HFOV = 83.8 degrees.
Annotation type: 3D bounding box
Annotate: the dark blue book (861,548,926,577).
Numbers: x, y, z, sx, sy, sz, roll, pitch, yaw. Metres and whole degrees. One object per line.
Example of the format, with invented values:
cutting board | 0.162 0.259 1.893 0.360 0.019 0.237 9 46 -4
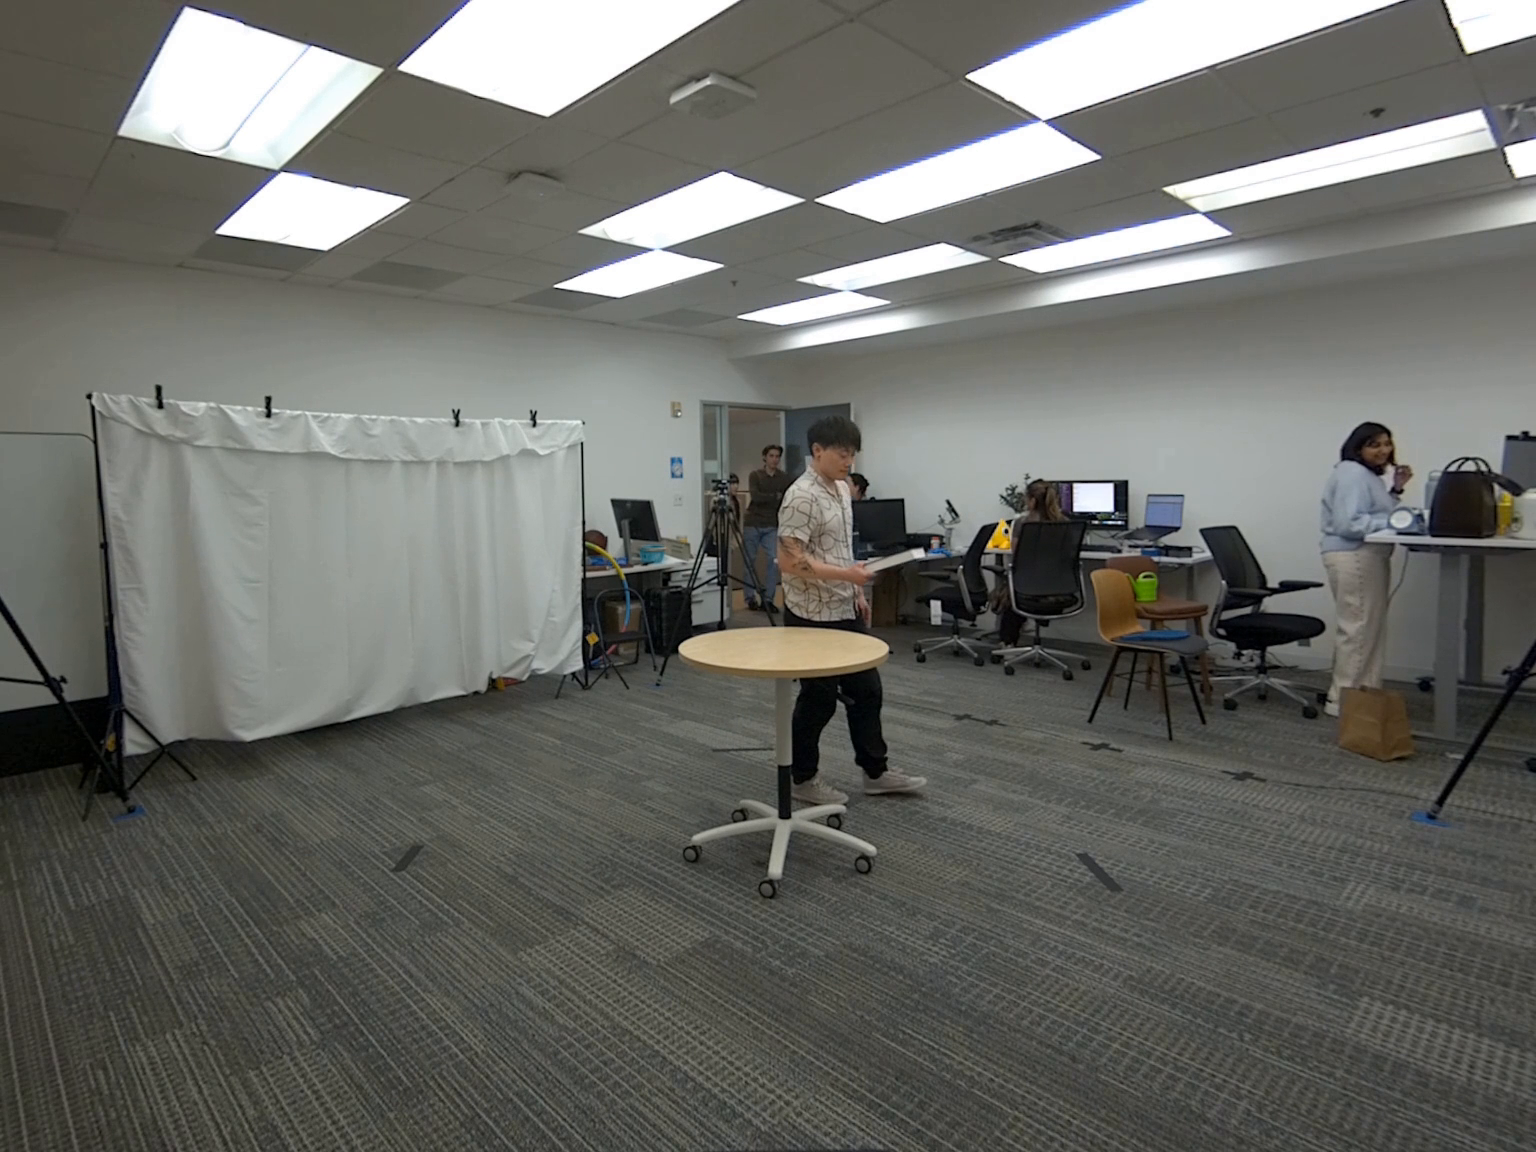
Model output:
dark blue book | 0.515 -0.060 3.452 0.249 0.045 0.160 -17 -4 28
